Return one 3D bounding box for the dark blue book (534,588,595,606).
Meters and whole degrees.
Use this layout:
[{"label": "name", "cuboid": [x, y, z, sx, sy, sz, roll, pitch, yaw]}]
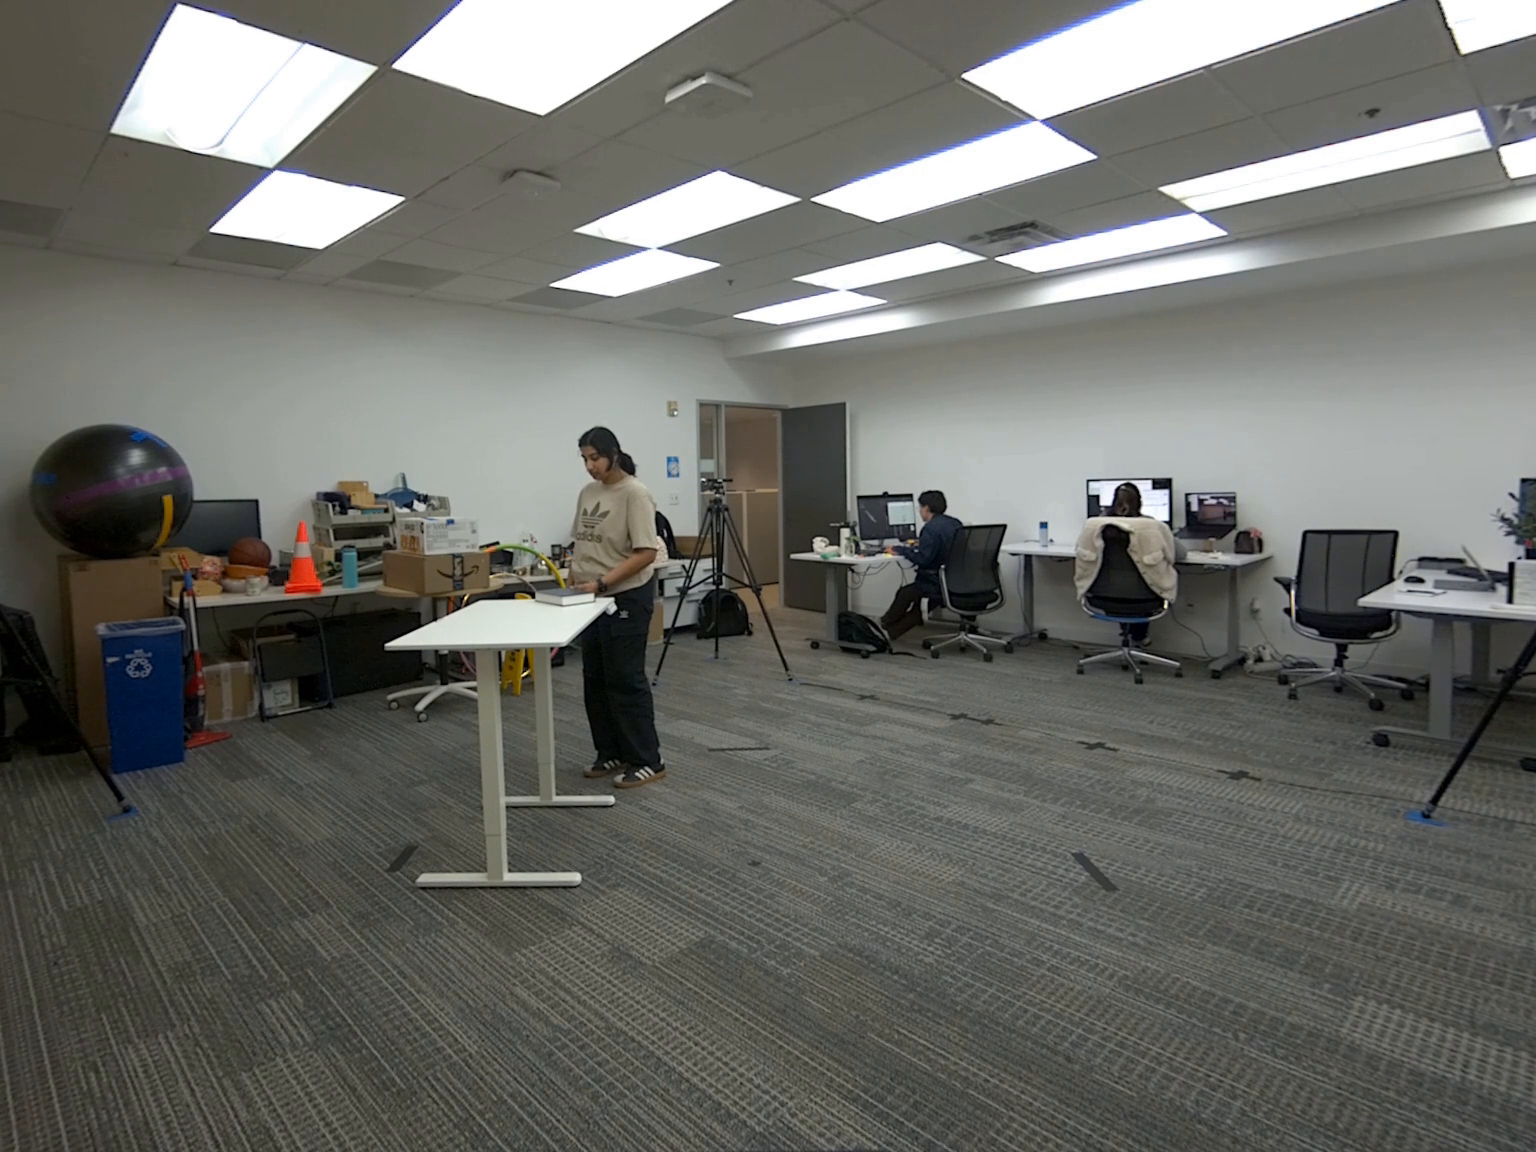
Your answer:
[{"label": "dark blue book", "cuboid": [-0.886, 0.091, 3.702, 0.159, 0.045, 0.252, -6, 8, -42]}]
